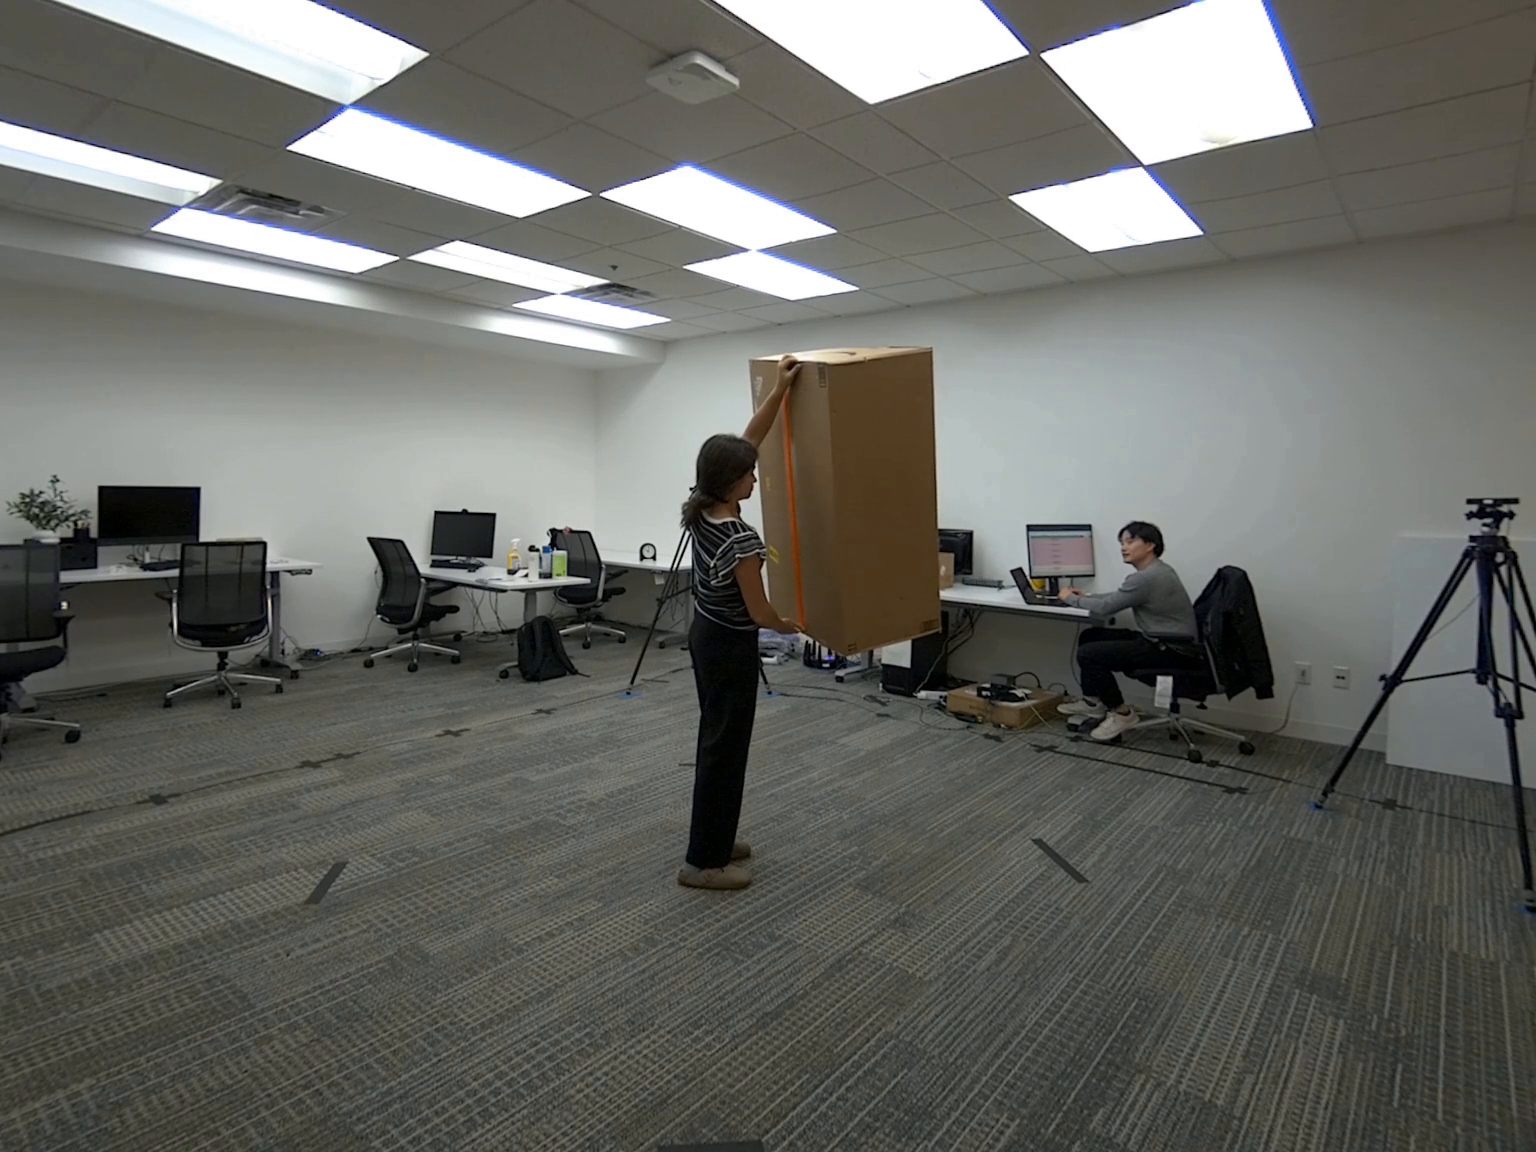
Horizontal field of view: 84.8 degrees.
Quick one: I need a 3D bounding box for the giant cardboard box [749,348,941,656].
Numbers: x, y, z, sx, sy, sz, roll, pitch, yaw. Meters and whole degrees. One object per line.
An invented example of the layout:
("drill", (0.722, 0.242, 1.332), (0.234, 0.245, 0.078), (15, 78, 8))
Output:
("giant cardboard box", (0.274, -0.314, 3.157), (0.419, 1.010, 0.597), (-11, 16, -23))
